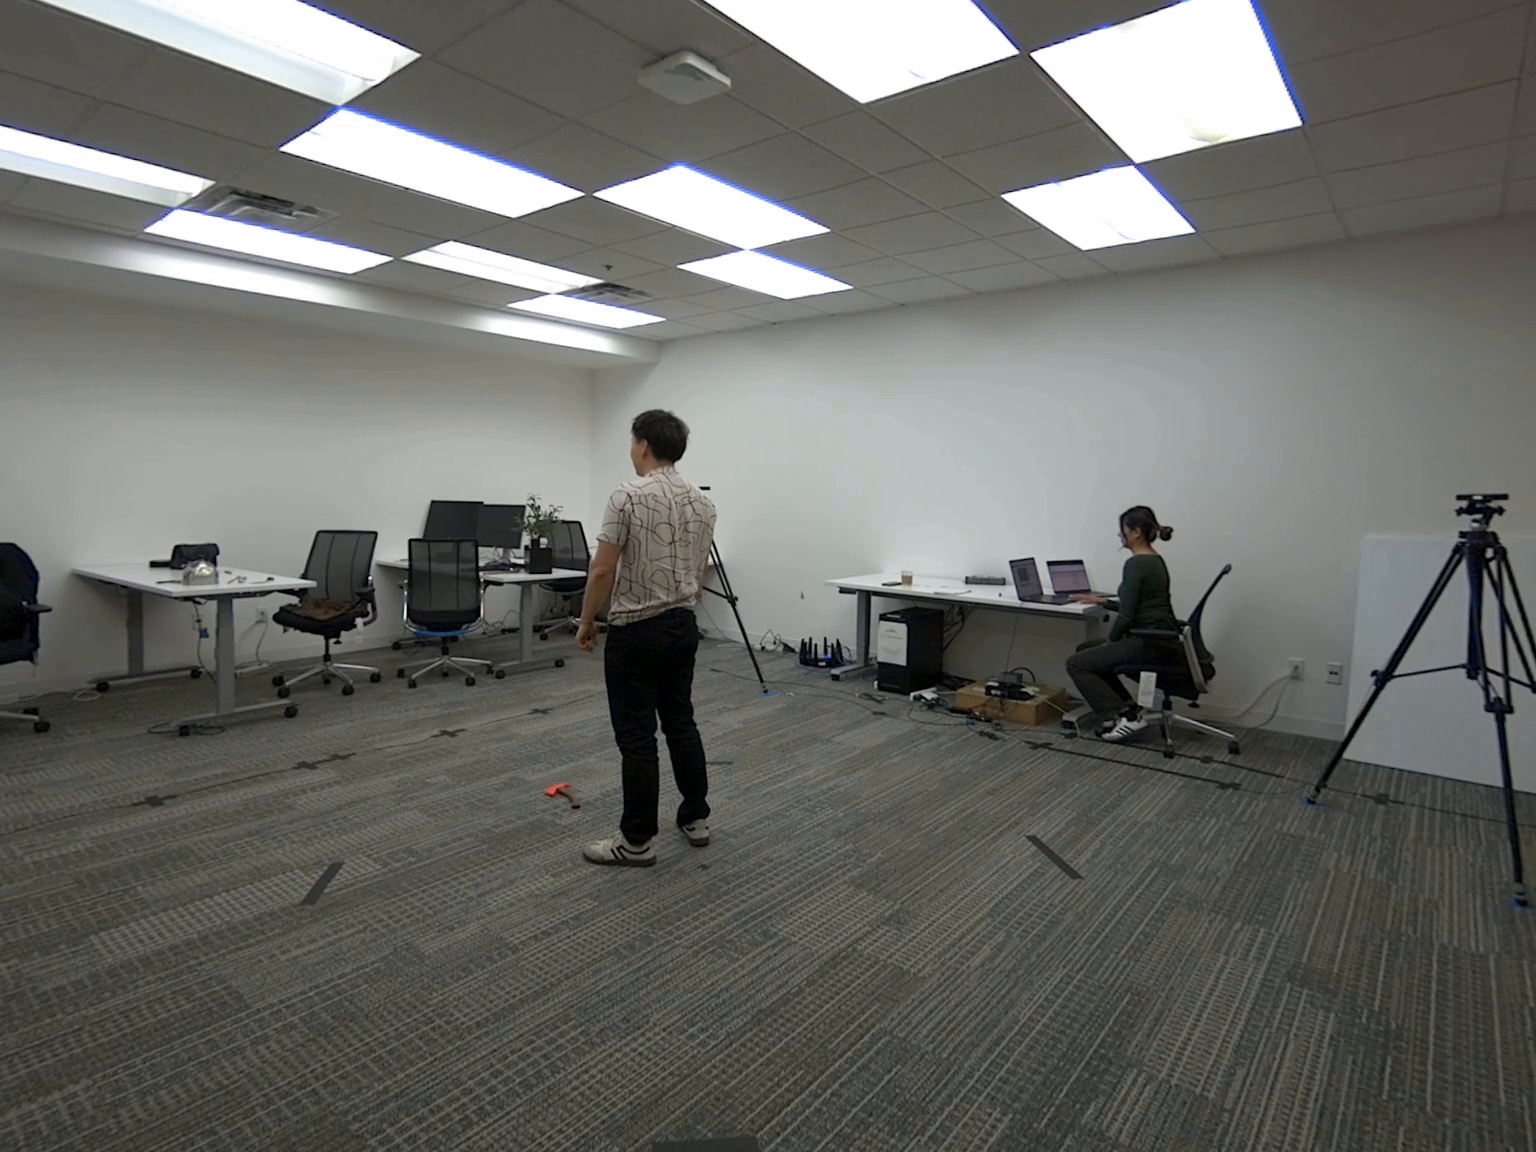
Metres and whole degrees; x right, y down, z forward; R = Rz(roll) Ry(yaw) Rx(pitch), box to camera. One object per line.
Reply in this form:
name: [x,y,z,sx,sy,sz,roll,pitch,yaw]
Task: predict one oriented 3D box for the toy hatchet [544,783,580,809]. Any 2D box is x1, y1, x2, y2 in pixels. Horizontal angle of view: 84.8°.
toy hatchet: [-0.936,0.981,3.781,0.128,0.029,0.277,-1,7,-21]
